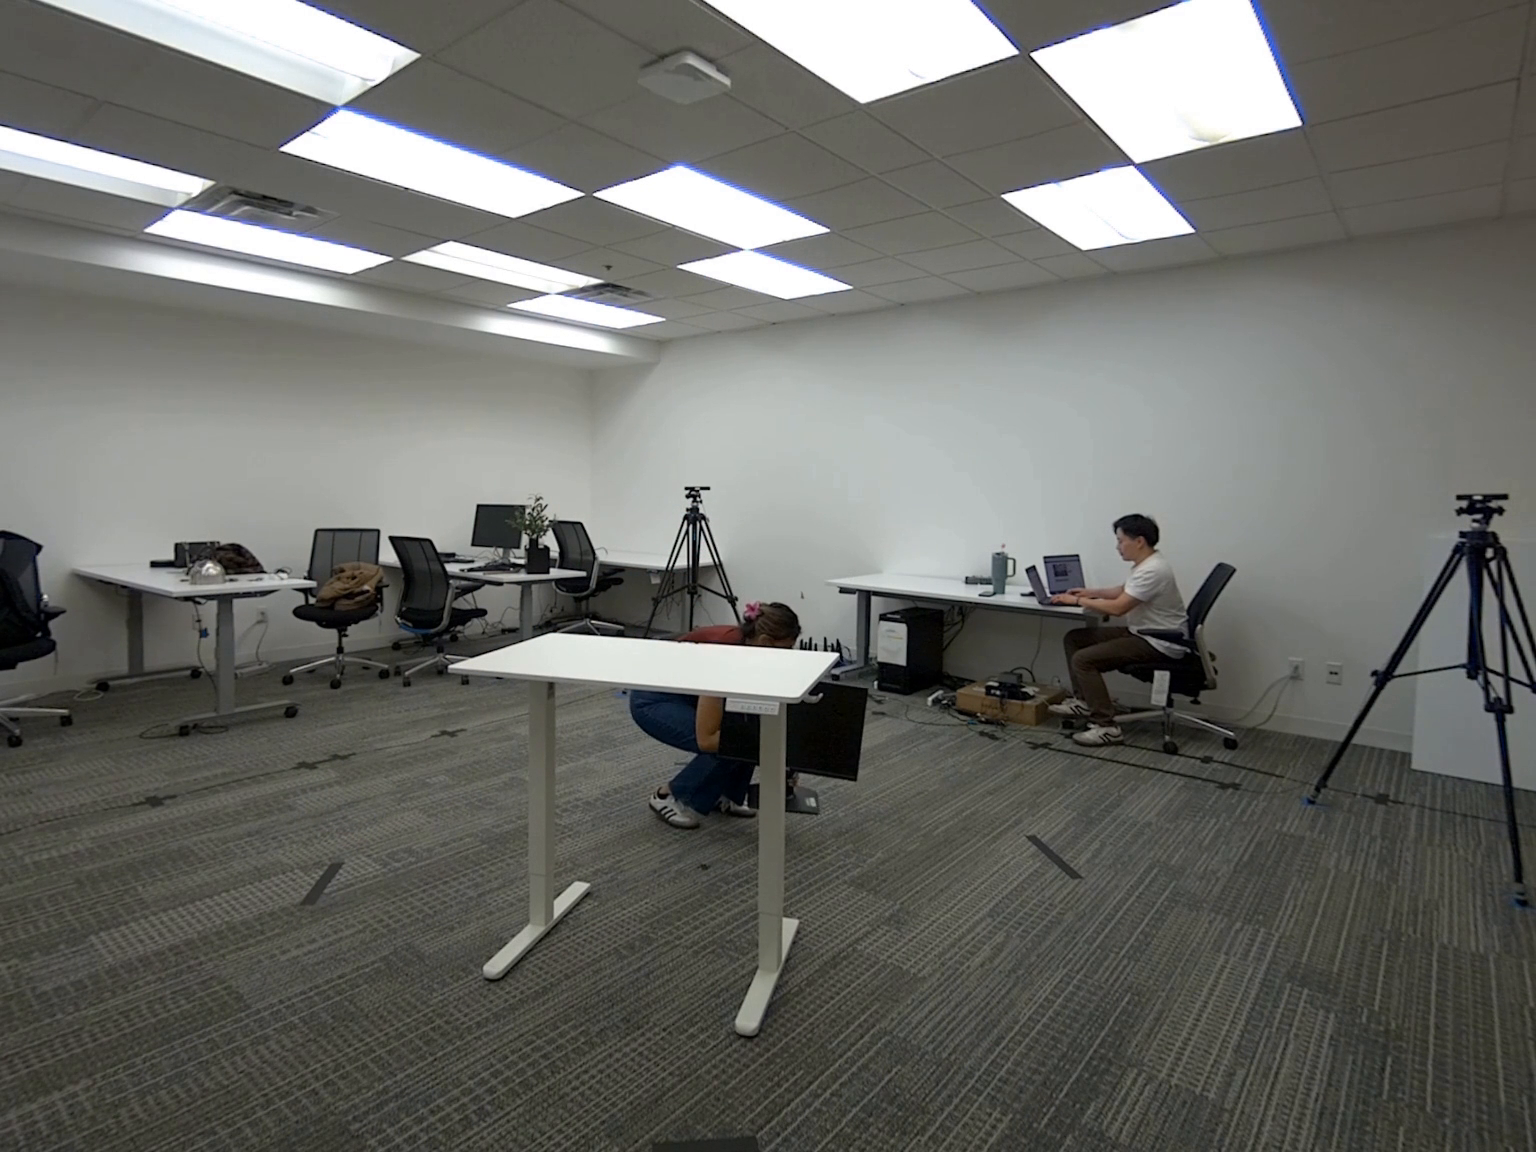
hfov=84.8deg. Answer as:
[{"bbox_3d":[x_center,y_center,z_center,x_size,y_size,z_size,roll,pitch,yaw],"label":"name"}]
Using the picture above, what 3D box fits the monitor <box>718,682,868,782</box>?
[{"bbox_3d":[0.087,0.635,3.286,0.543,0.517,0.188,7,13,5],"label":"monitor"}]
